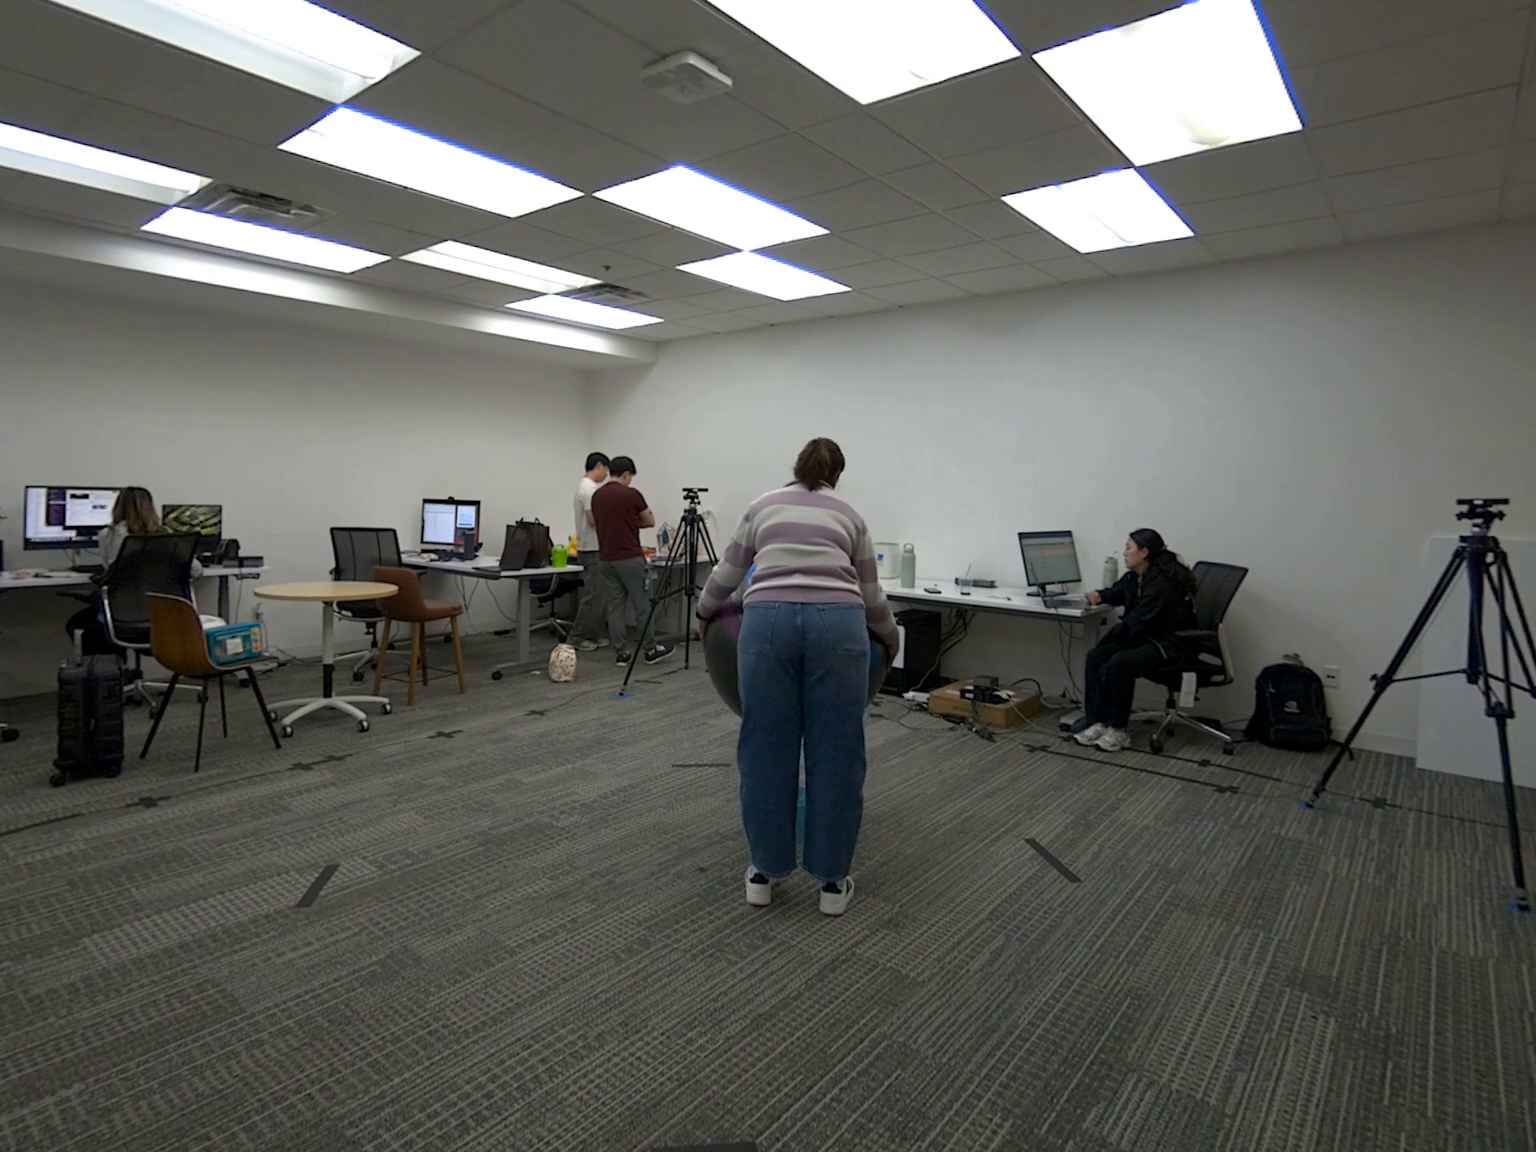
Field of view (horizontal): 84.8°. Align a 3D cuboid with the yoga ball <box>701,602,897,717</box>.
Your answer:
[{"bbox_3d":[0.111,0.259,3.431,0.757,0.756,0.761,1,4,-2],"label":"yoga ball"}]
